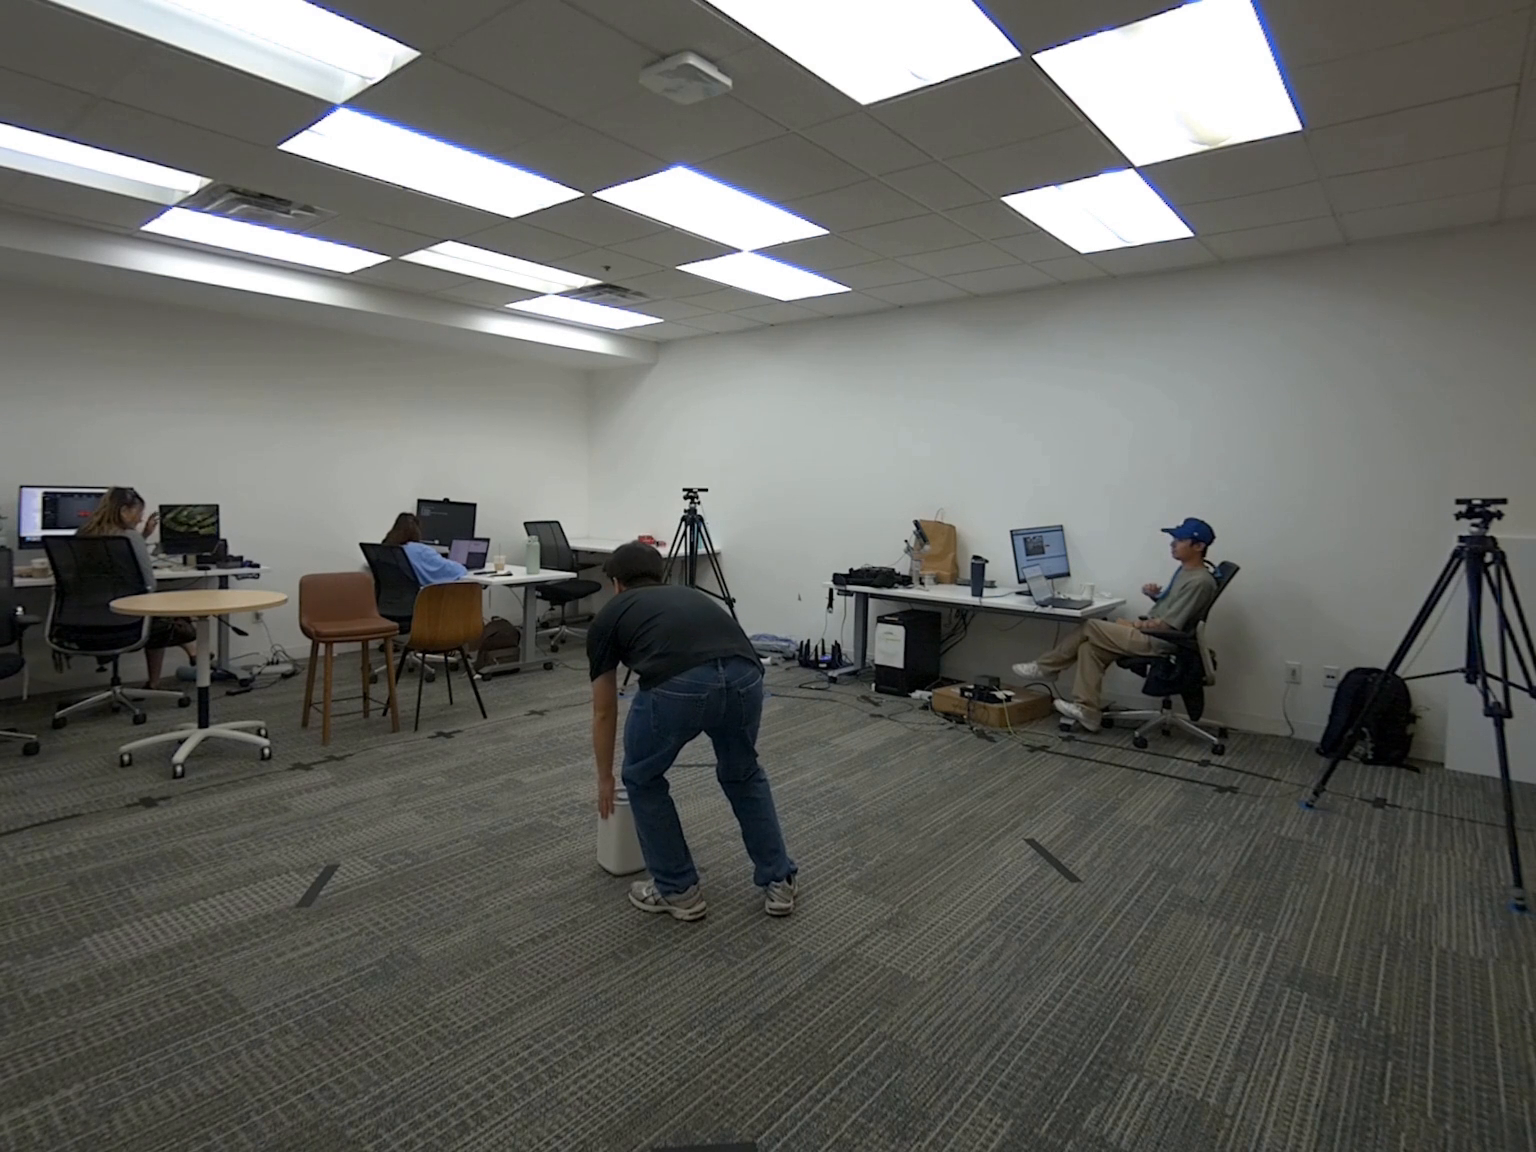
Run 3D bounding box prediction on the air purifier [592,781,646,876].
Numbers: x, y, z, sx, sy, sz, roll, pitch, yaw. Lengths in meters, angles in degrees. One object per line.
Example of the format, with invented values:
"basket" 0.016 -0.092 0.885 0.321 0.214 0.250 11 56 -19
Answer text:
"air purifier" -0.530 0.922 3.113 0.166 0.265 0.177 -1 4 -43
